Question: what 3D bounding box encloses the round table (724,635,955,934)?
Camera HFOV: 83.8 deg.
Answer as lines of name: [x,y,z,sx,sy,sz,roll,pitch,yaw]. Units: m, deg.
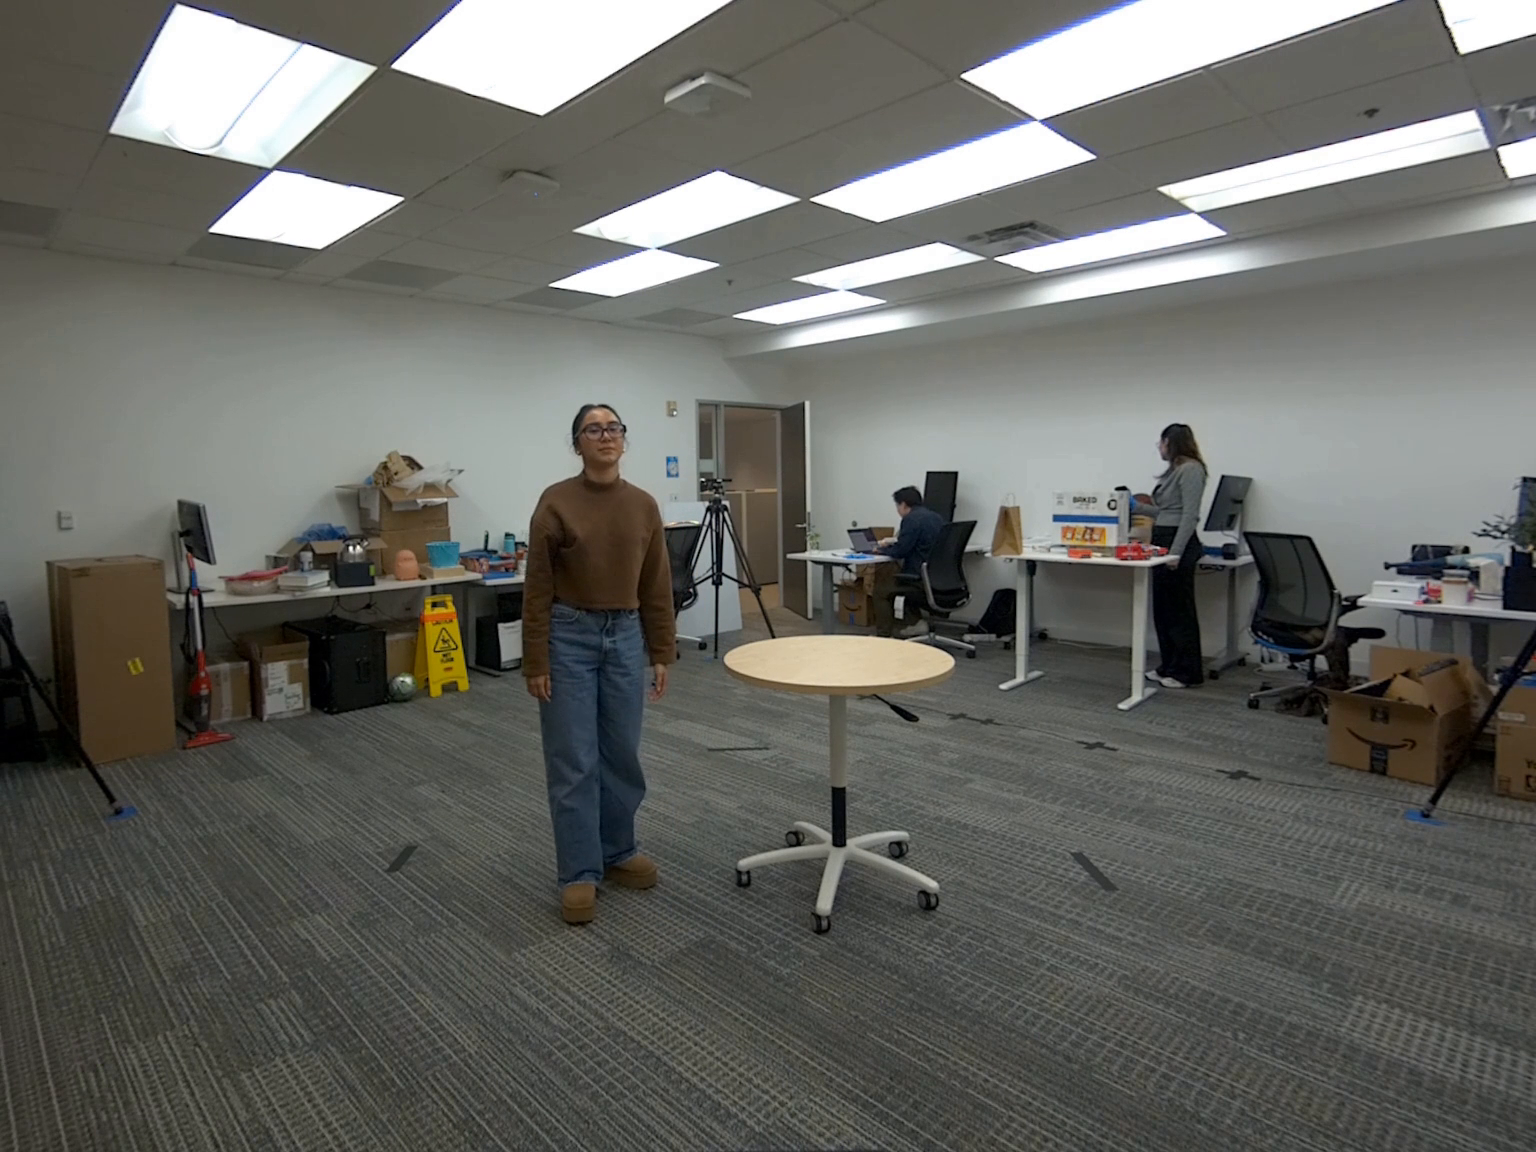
round table: [0.239,0.669,2.908,0.763,0.791,0.768,-1,5,-2]
